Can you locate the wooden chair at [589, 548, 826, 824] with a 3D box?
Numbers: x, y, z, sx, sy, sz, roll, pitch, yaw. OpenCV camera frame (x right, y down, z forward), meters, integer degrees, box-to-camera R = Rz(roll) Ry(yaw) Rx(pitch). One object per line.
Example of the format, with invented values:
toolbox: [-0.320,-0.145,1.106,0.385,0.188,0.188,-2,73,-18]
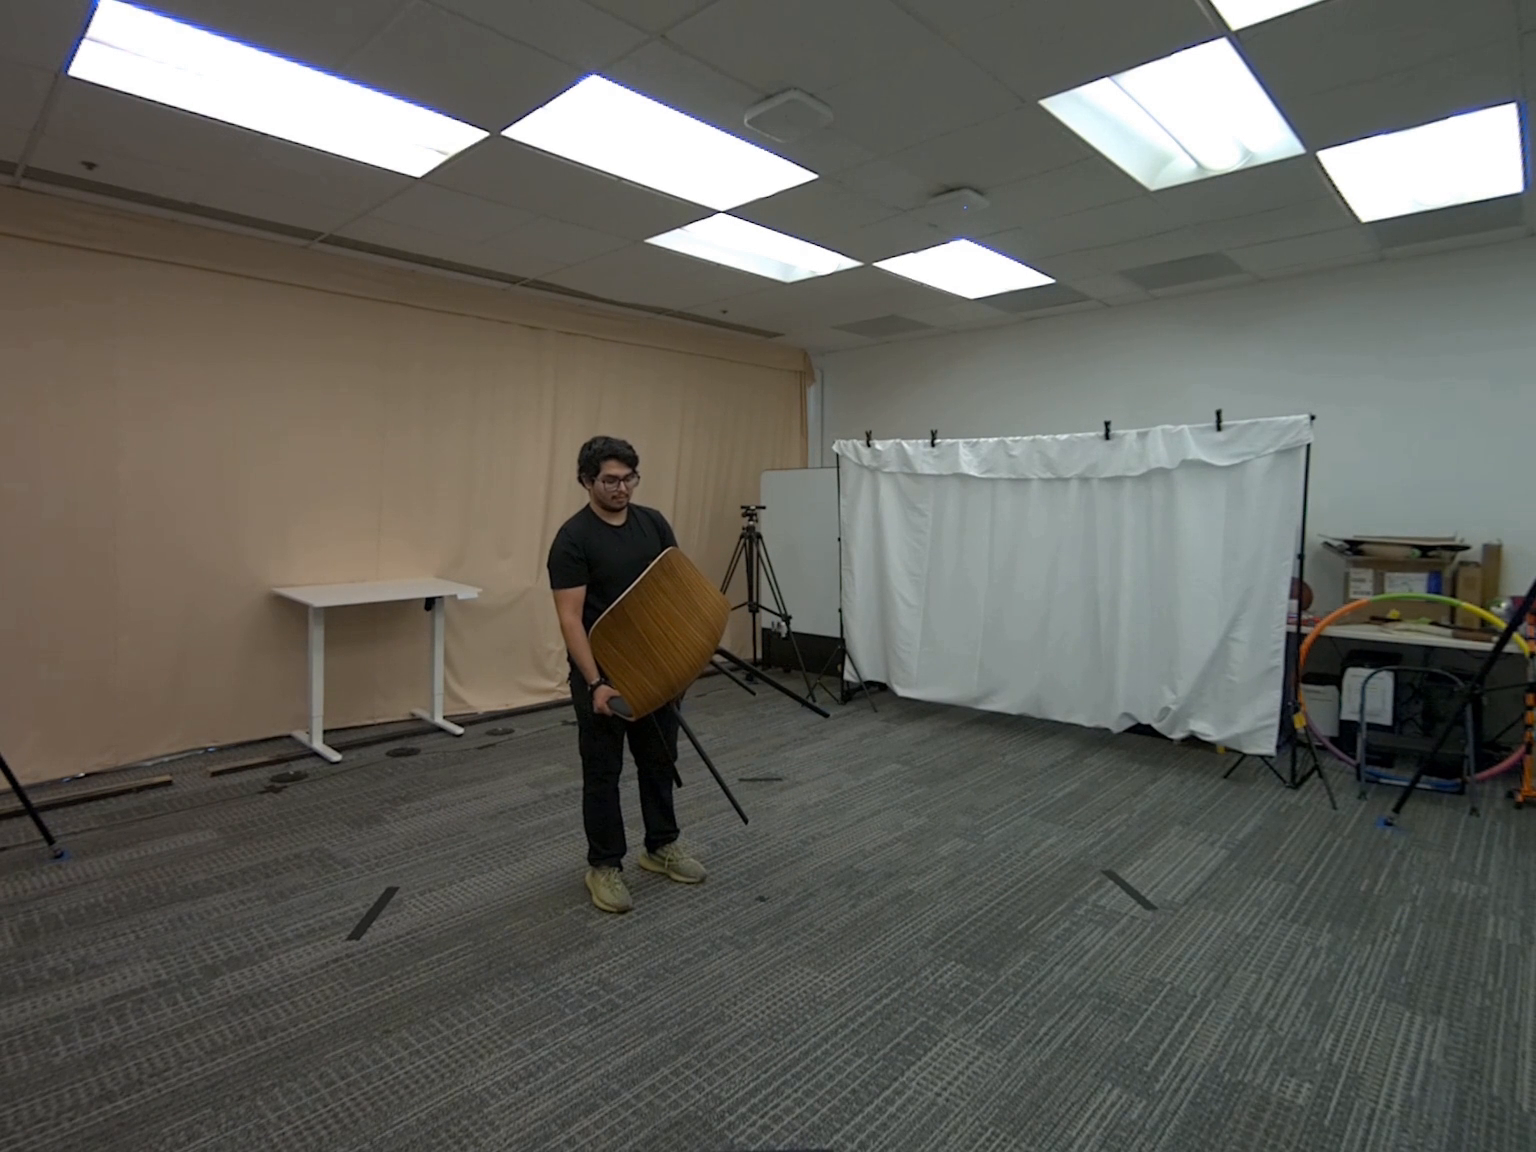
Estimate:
wooden chair: [-0.299,0.309,2.741,0.475,0.854,0.540,-48,29,-22]
